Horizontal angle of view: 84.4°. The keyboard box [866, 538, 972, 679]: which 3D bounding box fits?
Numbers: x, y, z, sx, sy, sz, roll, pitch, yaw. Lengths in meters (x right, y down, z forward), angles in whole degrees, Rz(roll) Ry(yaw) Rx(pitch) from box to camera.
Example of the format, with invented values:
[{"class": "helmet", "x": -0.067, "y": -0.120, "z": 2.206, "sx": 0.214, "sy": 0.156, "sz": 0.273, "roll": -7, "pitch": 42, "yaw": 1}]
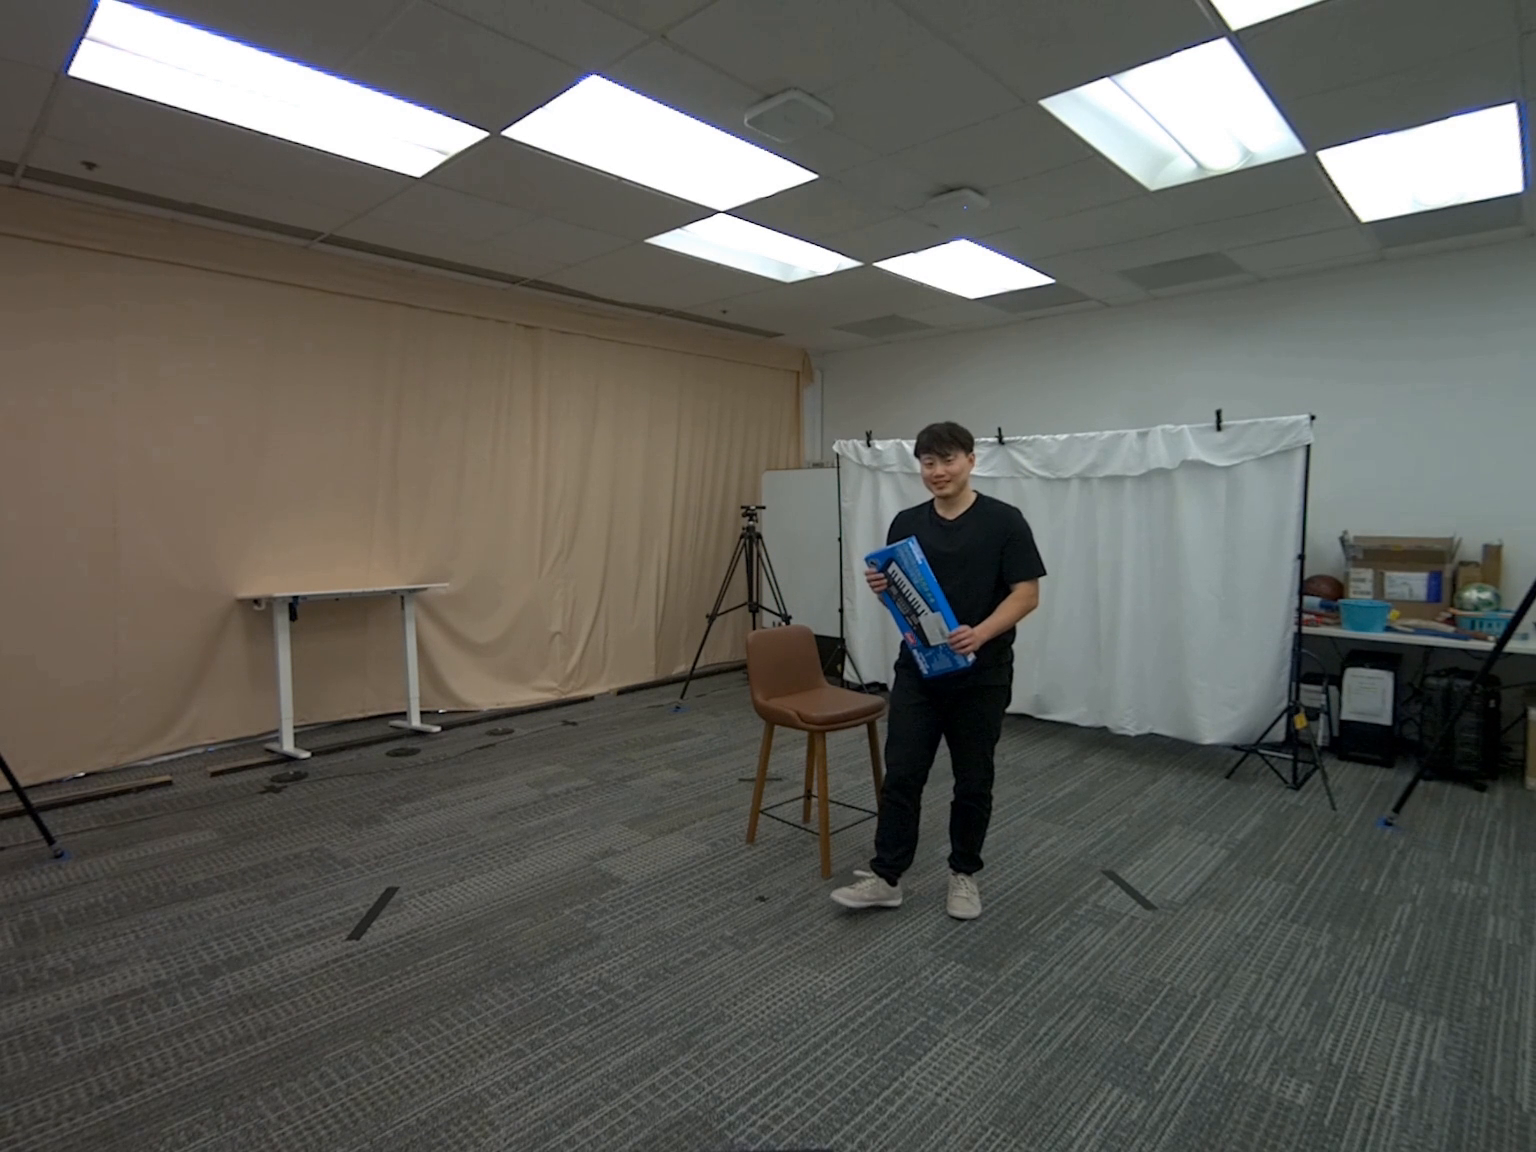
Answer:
[{"class": "keyboard box", "x": 0.485, "y": 0.102, "z": 2.680, "sx": 0.180, "sy": 0.436, "sz": 0.058, "roll": -25, "pitch": 2, "yaw": 43}]
